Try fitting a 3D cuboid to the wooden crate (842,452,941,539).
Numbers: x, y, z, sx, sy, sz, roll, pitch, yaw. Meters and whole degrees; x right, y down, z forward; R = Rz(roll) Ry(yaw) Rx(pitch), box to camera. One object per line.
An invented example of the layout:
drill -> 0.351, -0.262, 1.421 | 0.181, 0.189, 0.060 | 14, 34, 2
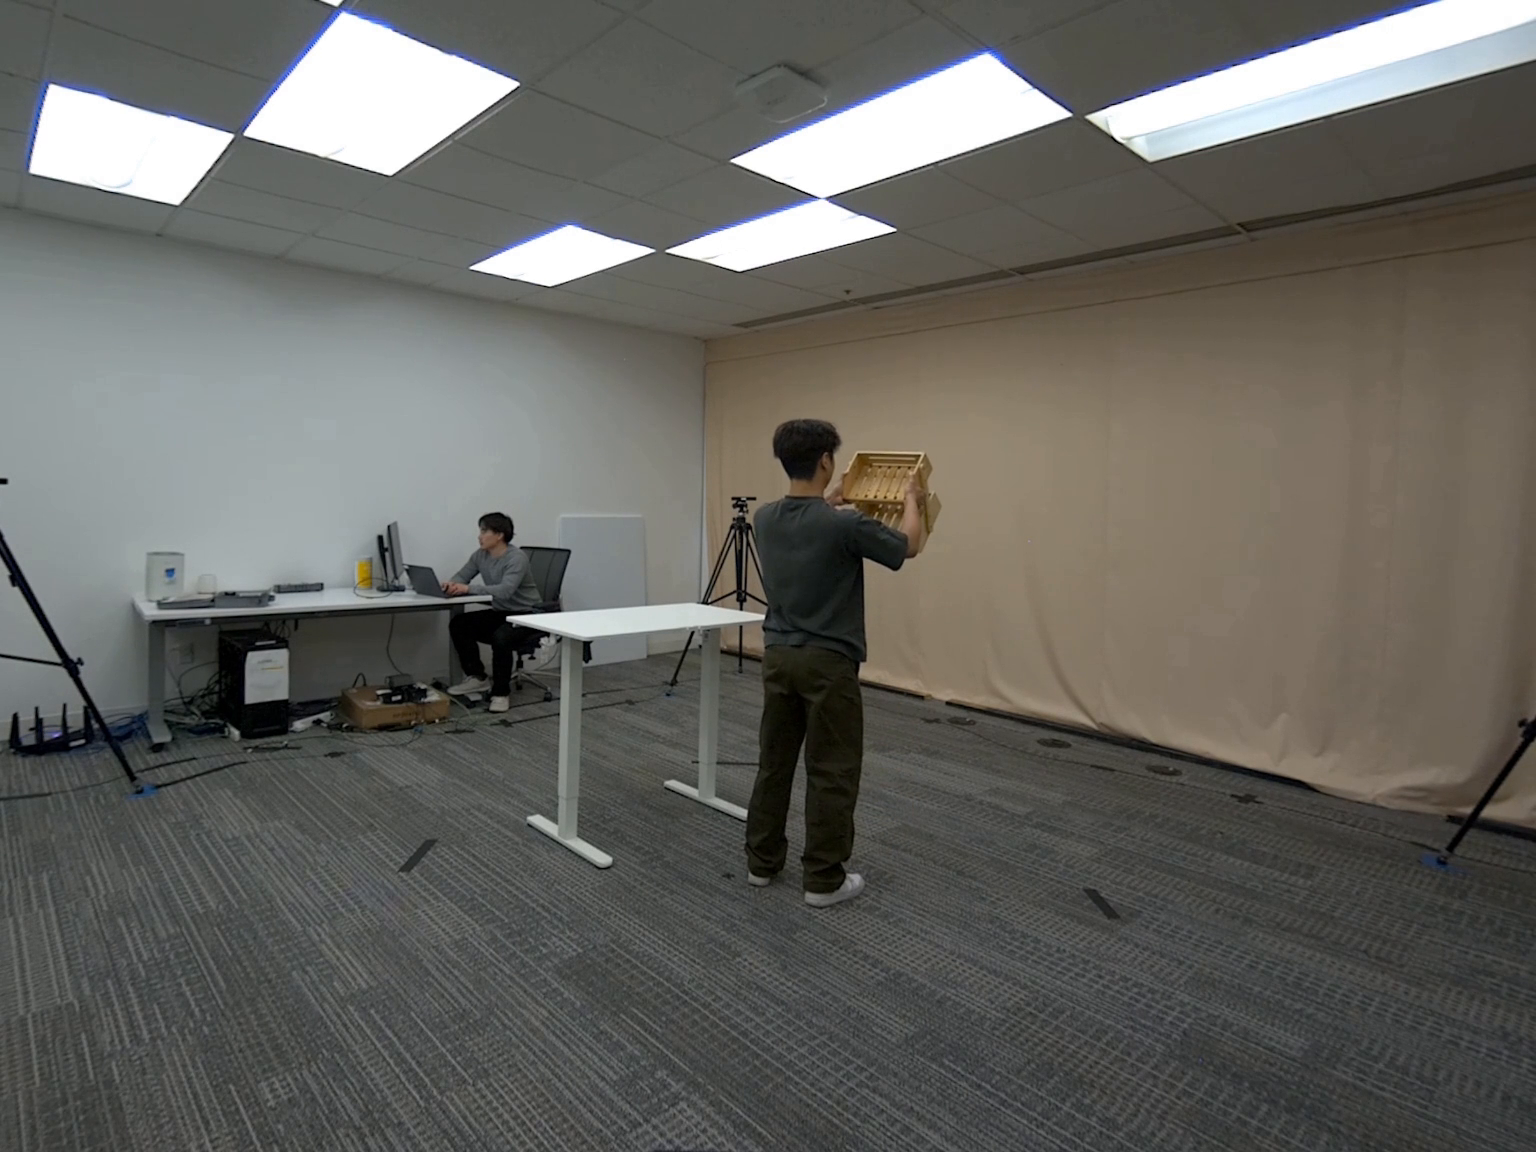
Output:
wooden crate -> 0.459, -0.285, 3.278 | 0.333, 0.303, 0.265 | 8, -33, 39
